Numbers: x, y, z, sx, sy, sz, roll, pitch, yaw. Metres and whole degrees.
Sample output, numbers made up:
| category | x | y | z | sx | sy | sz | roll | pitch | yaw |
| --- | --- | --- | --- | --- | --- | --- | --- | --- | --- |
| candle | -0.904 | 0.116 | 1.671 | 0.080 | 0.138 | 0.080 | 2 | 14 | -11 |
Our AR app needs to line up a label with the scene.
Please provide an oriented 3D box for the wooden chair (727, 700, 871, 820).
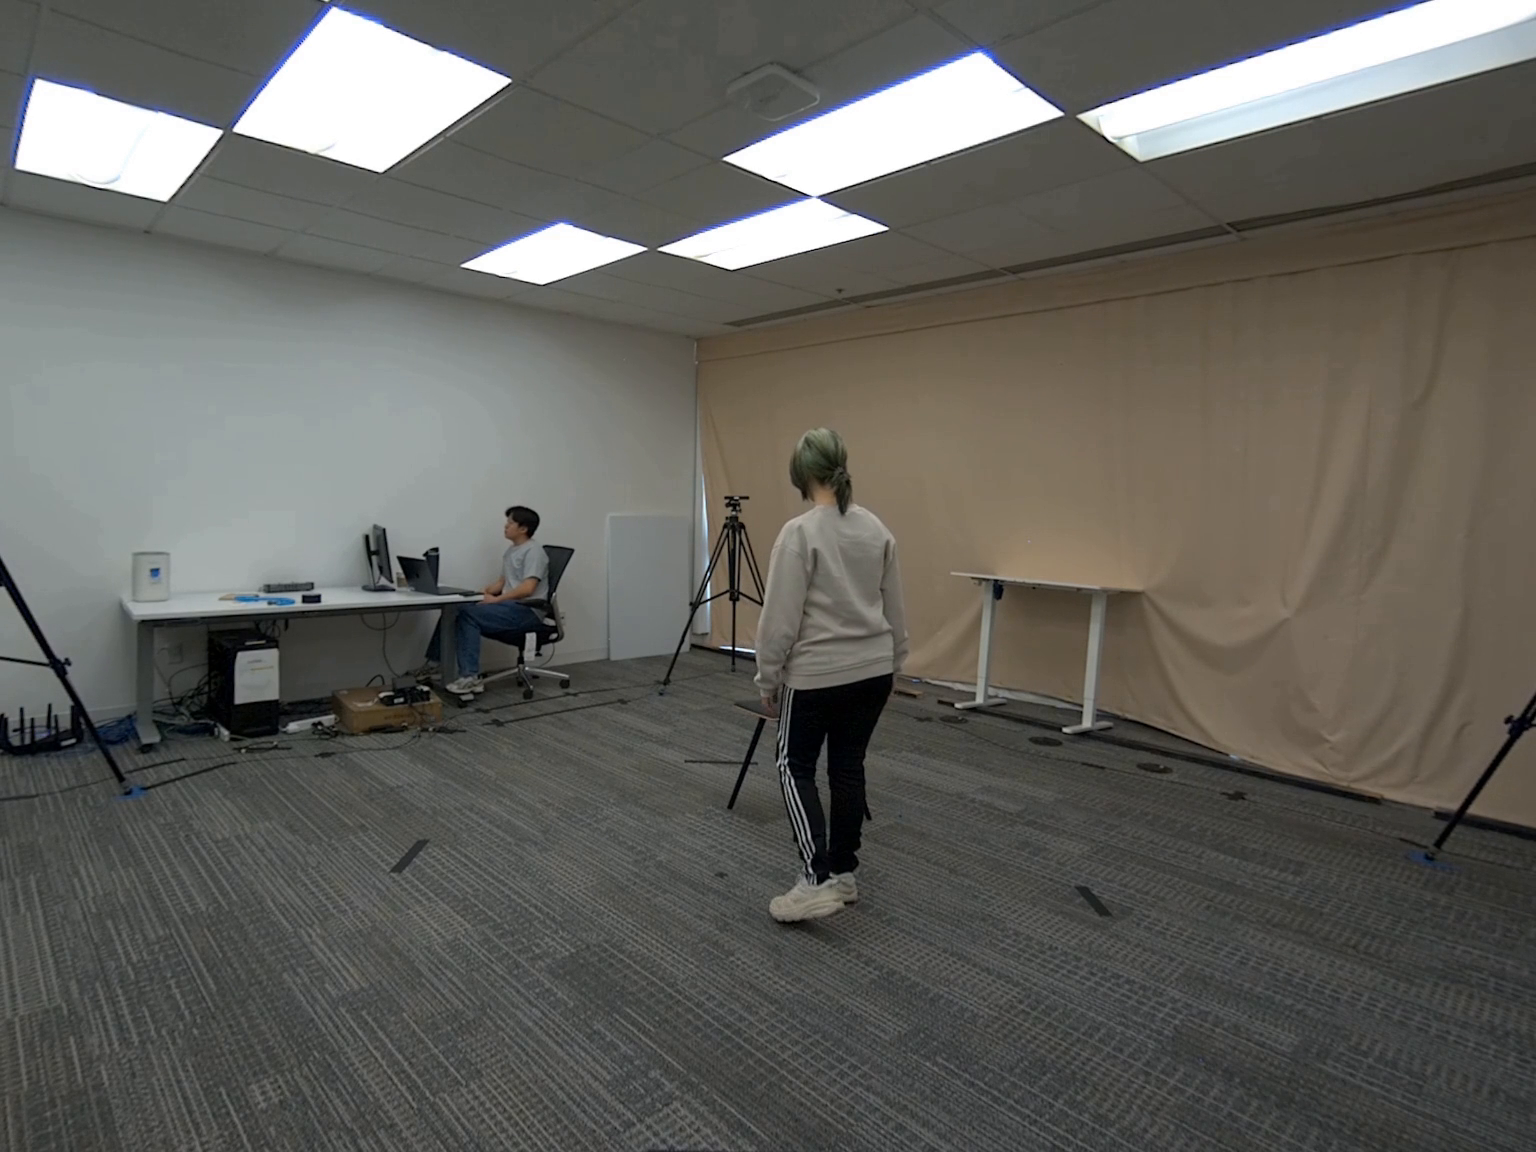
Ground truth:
| category | x | y | z | sx | sy | sz | roll | pitch | yaw |
| --- | --- | --- | --- | --- | --- | --- | --- | --- | --- |
| wooden chair | 0.140 | 0.634 | 3.709 | 0.467 | 0.873 | 0.537 | -1 | 8 | -39 |
